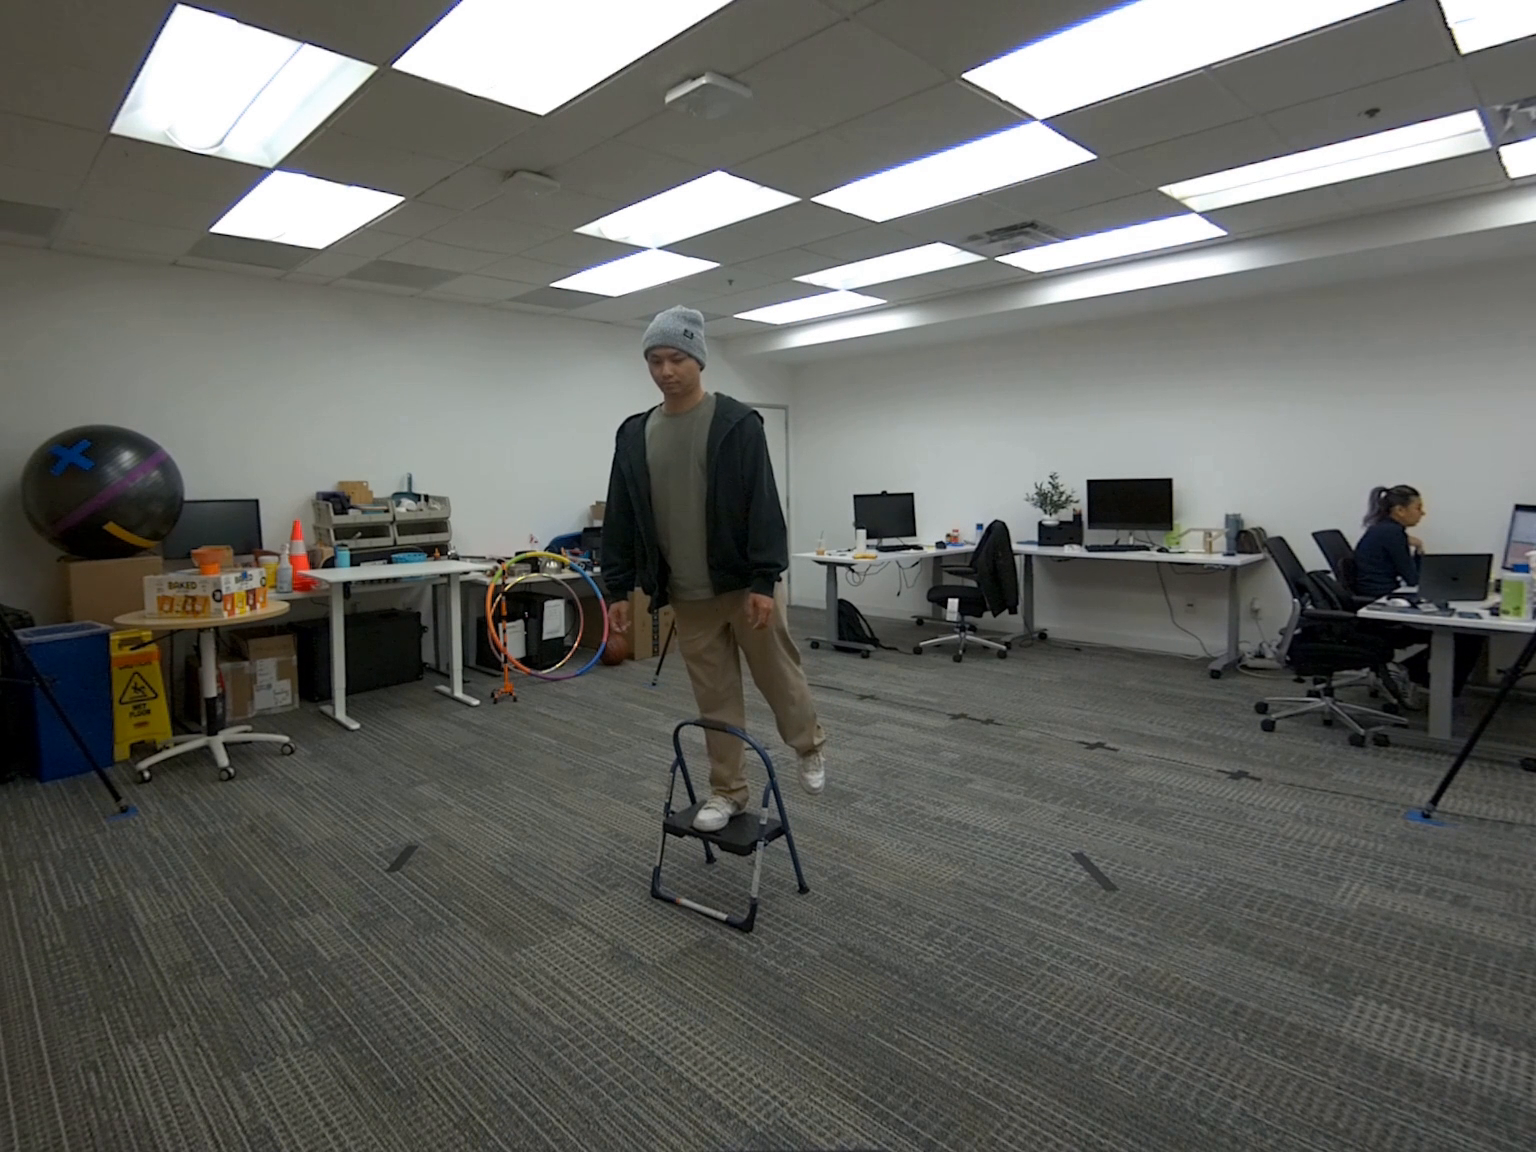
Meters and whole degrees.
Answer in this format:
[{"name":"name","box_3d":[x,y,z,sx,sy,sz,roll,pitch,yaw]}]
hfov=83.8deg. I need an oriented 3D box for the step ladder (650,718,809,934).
[{"name":"step ladder","box_3d":[-0.135,0.772,2.864,0.443,0.603,0.341,2,6,35]}]
